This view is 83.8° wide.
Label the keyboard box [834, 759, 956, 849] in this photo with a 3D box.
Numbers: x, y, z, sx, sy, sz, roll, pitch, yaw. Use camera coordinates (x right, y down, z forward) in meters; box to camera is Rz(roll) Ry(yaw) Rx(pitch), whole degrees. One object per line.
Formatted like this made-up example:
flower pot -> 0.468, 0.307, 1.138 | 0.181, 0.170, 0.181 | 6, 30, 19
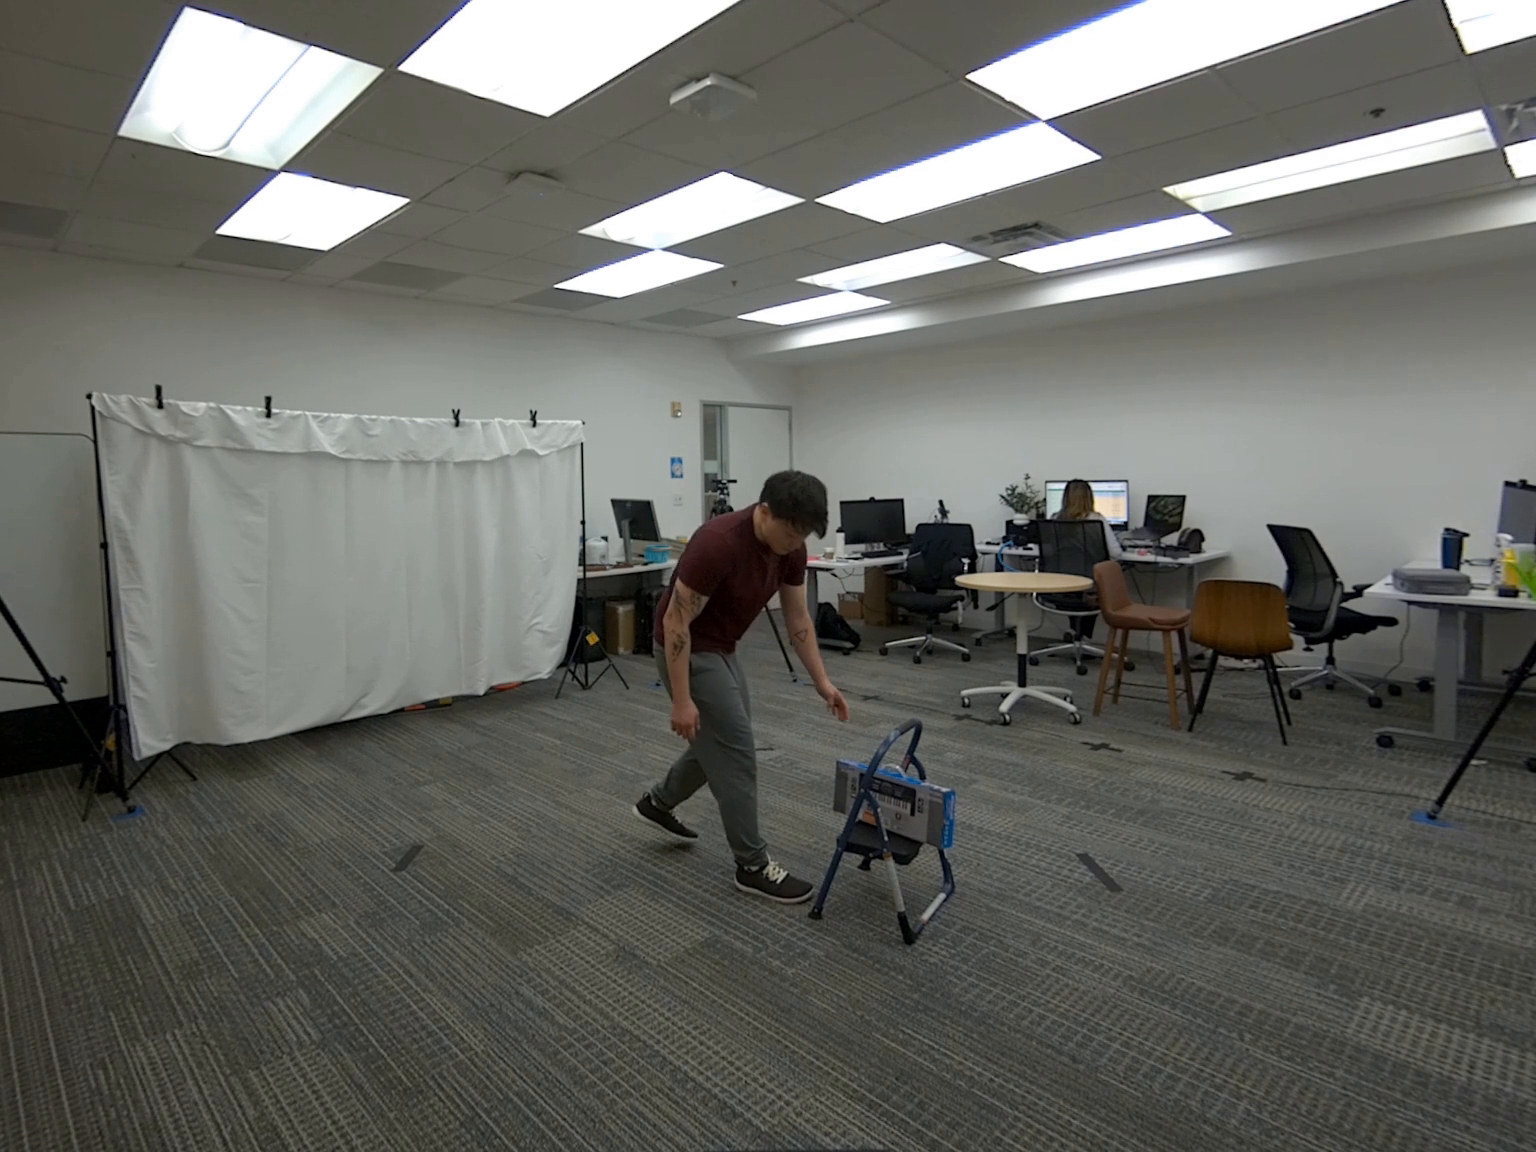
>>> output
keyboard box -> 0.396, 0.723, 2.765 | 0.057, 0.176, 0.450 | 6, 0, -42
